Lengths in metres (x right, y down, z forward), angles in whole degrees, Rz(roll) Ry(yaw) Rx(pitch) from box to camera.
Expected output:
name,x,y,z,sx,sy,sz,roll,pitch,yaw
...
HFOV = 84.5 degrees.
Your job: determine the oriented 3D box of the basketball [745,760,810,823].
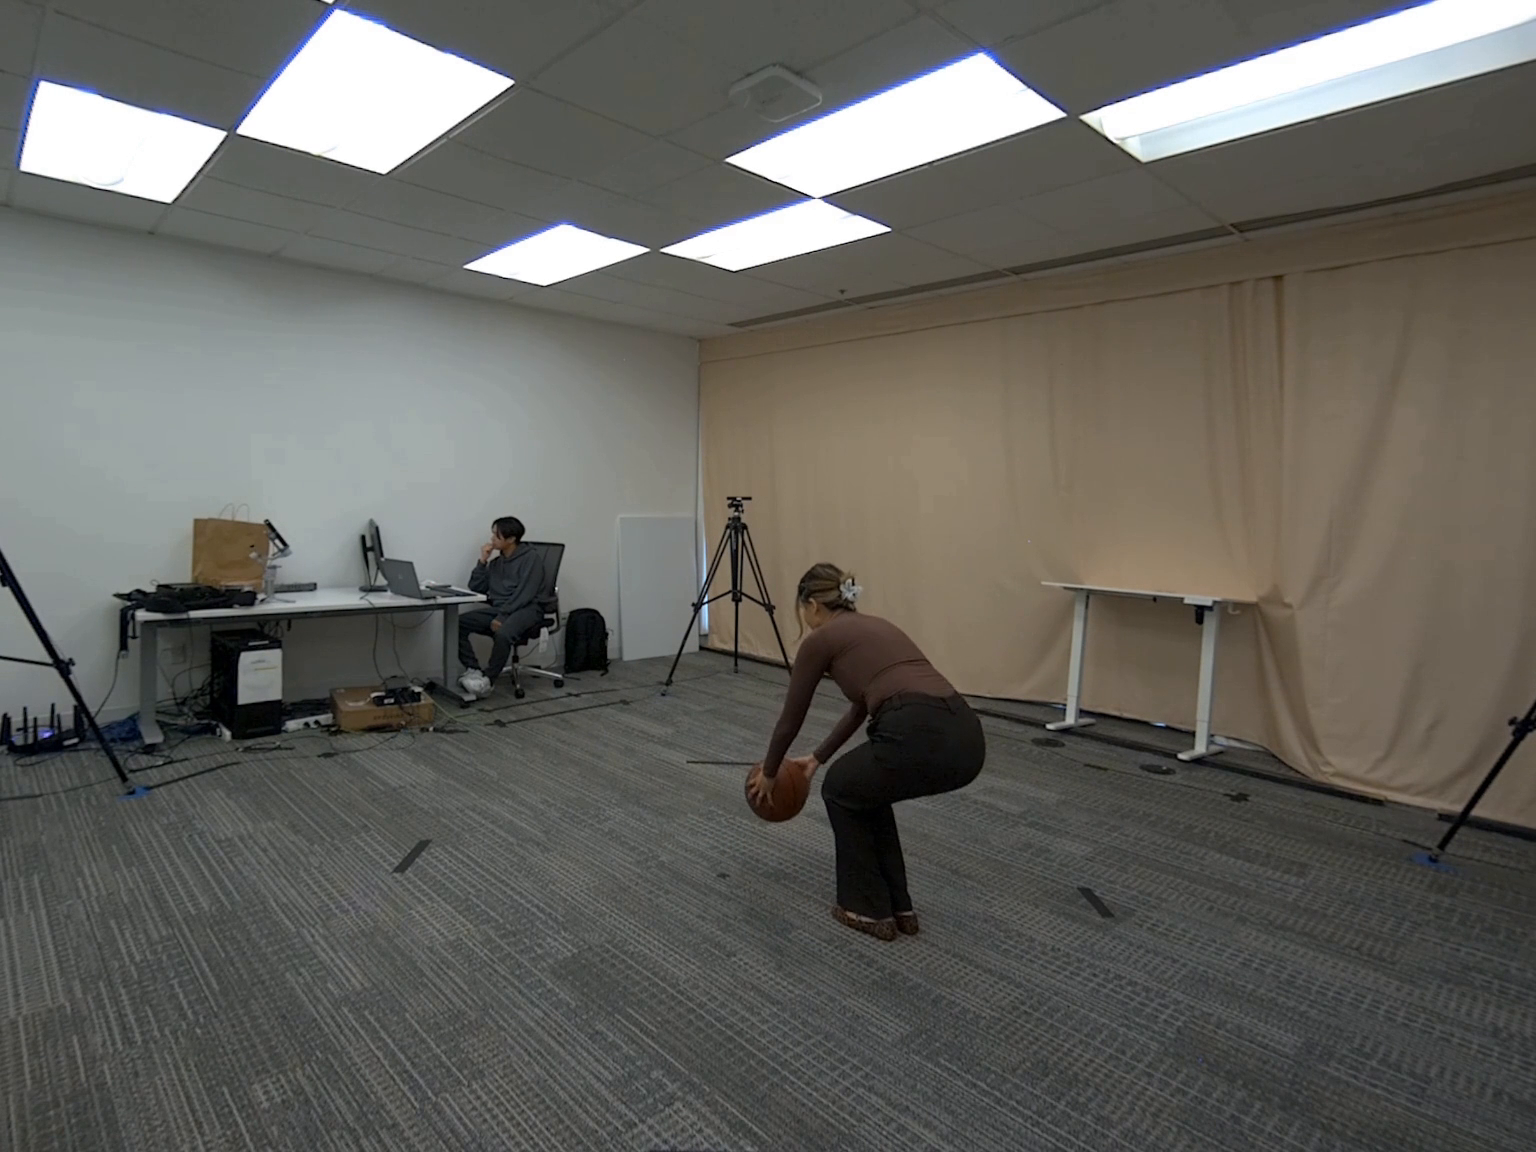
name,x,y,z,sx,sy,sz,roll,pitch,yaw
basketball,0.021,0.792,3.170,0.236,0.235,0.237,1,4,-1
